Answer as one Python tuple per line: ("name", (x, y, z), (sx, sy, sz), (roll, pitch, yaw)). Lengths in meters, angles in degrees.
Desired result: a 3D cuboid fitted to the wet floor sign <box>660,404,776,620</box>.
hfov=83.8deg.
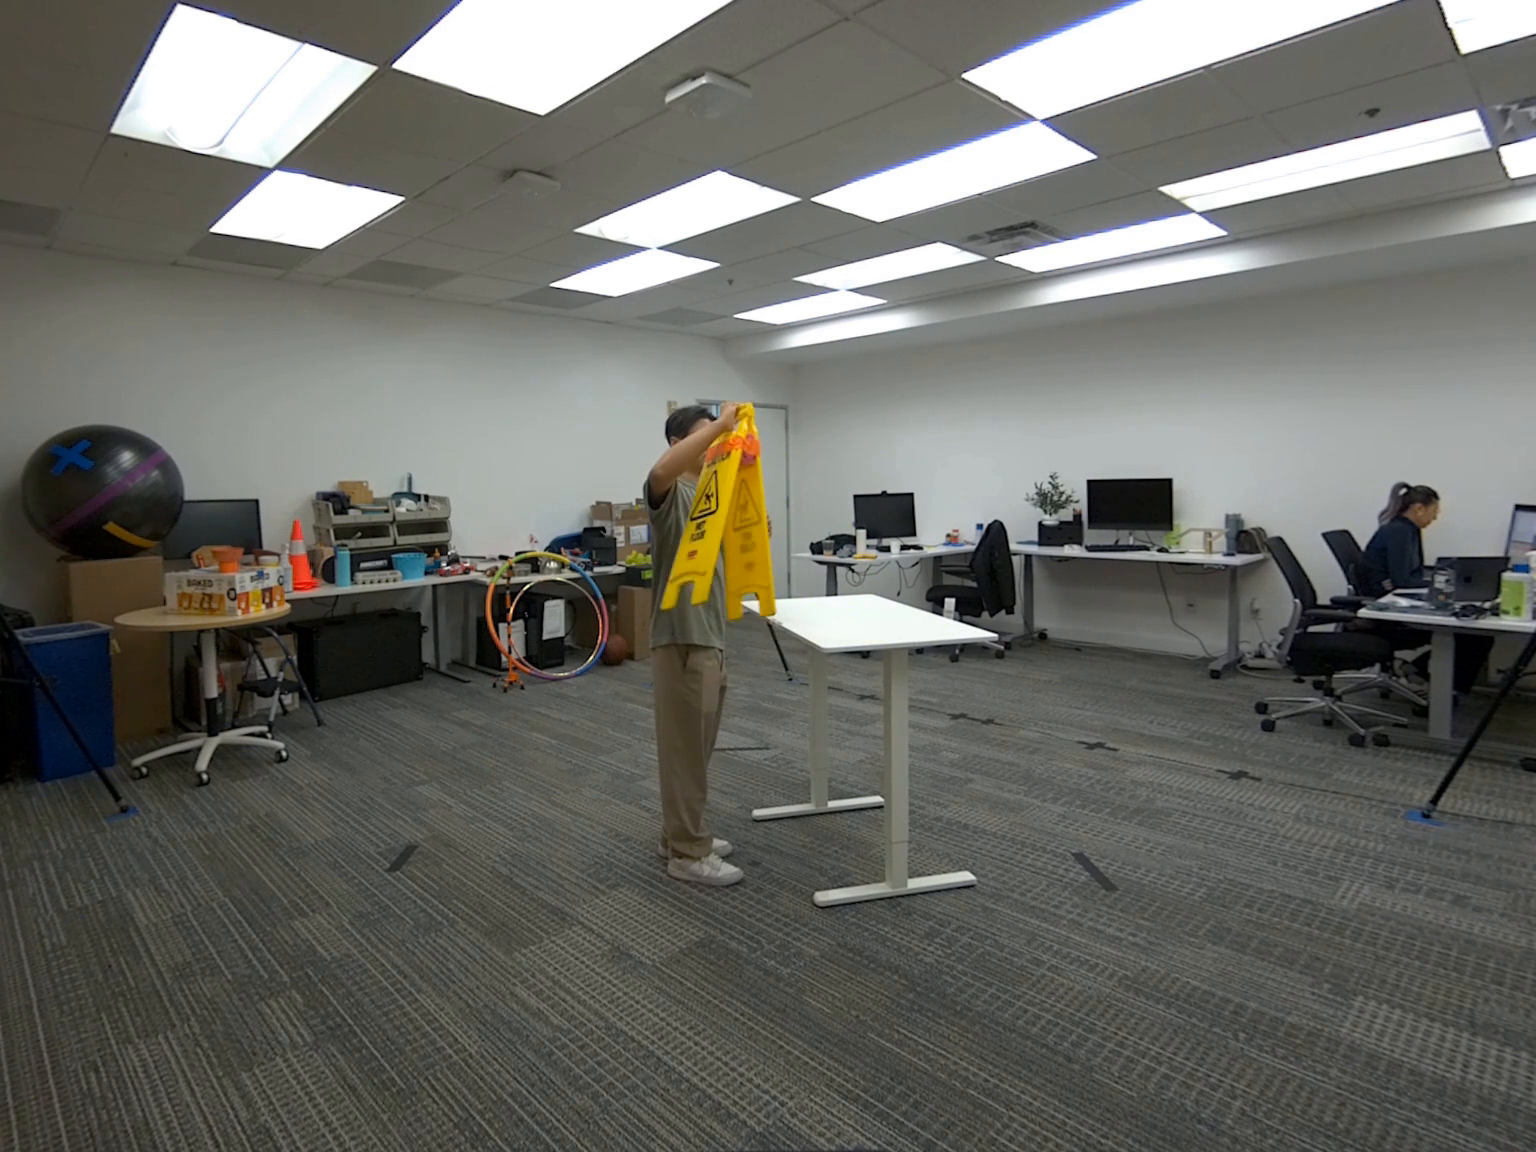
("wet floor sign", (-0.122, -0.200, 2.665), (0.281, 0.652, 0.287), (12, -14, -29))
